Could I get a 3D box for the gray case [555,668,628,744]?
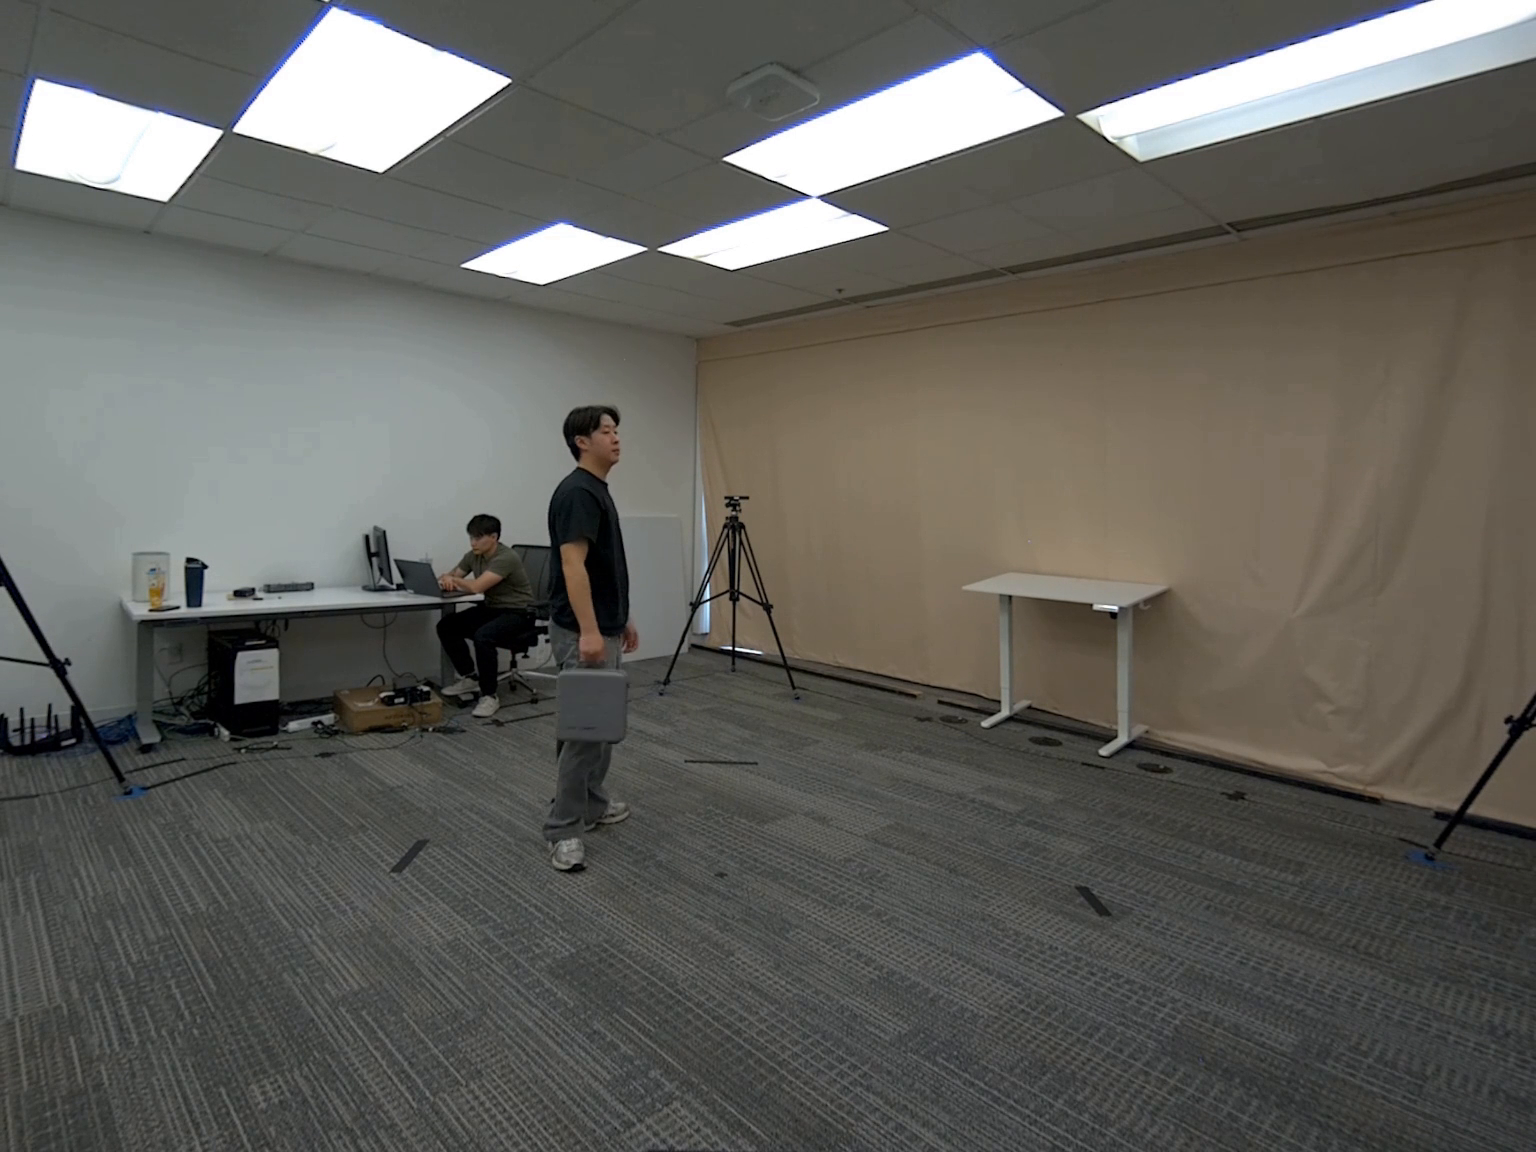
[{"bbox_3d":[-0.654,0.451,3.050,0.264,0.288,0.102,3,-2,2],"label":"gray case"}]
